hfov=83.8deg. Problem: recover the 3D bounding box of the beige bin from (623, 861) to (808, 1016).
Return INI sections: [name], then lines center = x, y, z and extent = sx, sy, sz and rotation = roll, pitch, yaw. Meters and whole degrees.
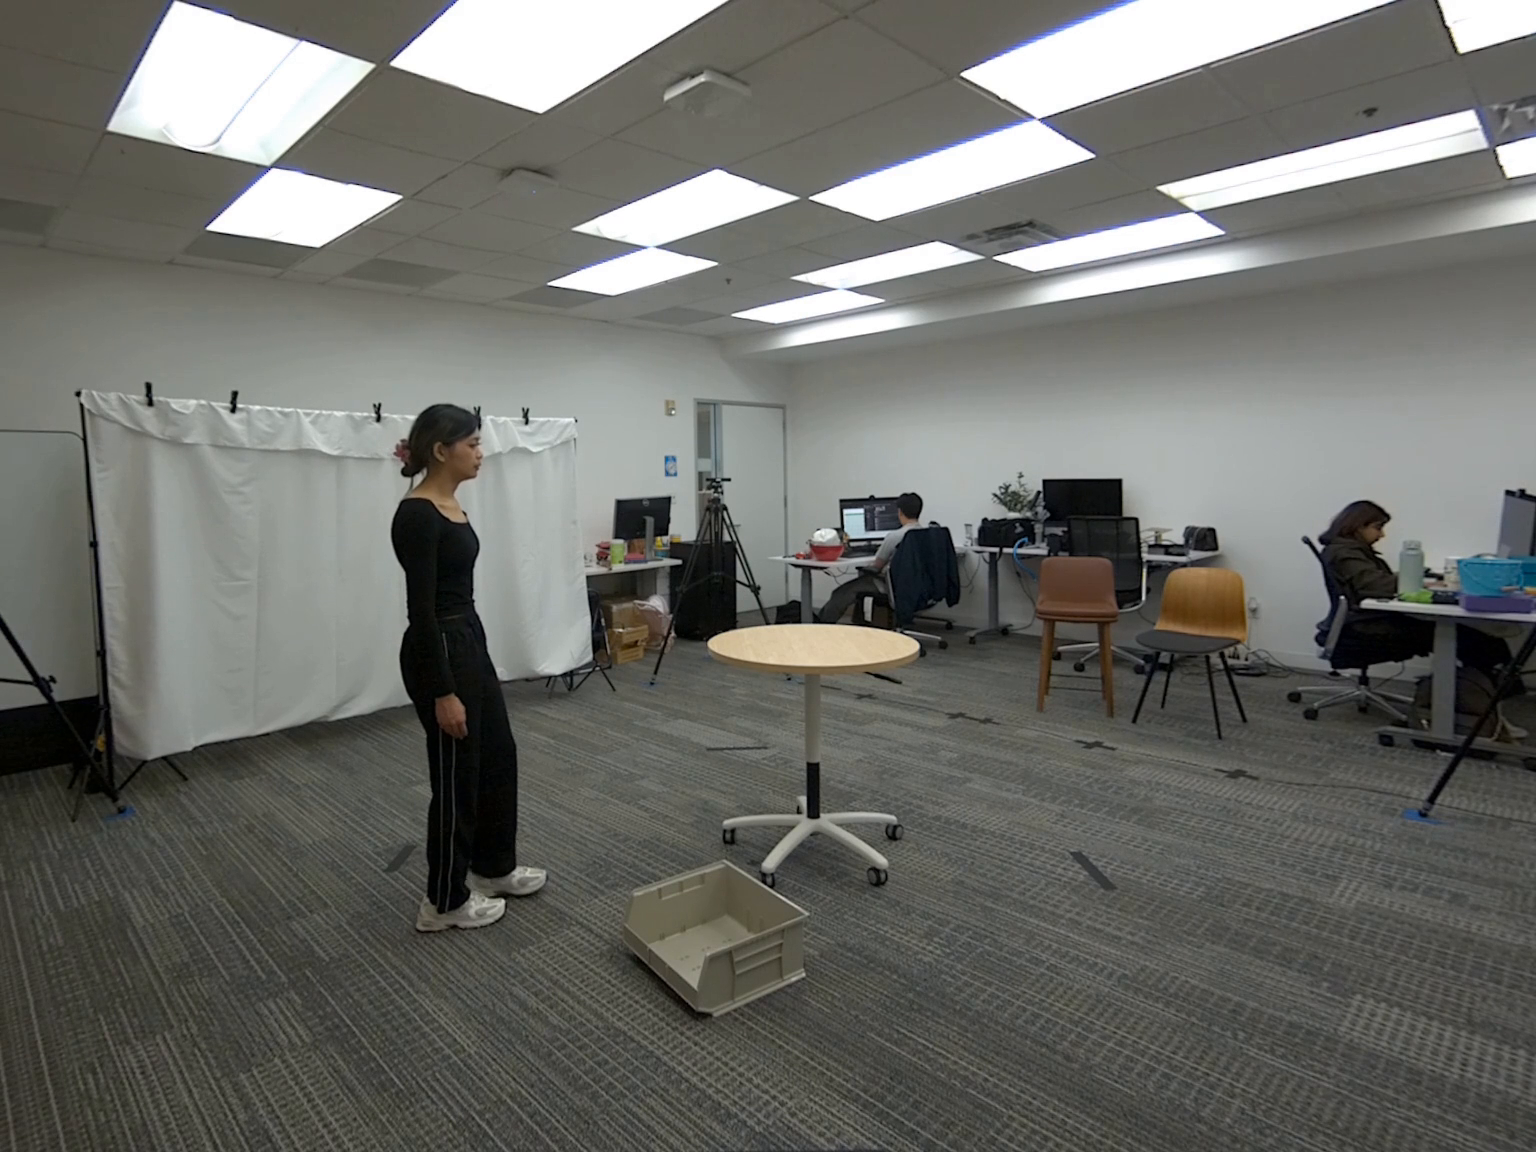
[beige bin]
center = -0.153, 1.031, 2.455
extent = 0.368, 0.188, 0.435
rotation = -4, 7, -35
